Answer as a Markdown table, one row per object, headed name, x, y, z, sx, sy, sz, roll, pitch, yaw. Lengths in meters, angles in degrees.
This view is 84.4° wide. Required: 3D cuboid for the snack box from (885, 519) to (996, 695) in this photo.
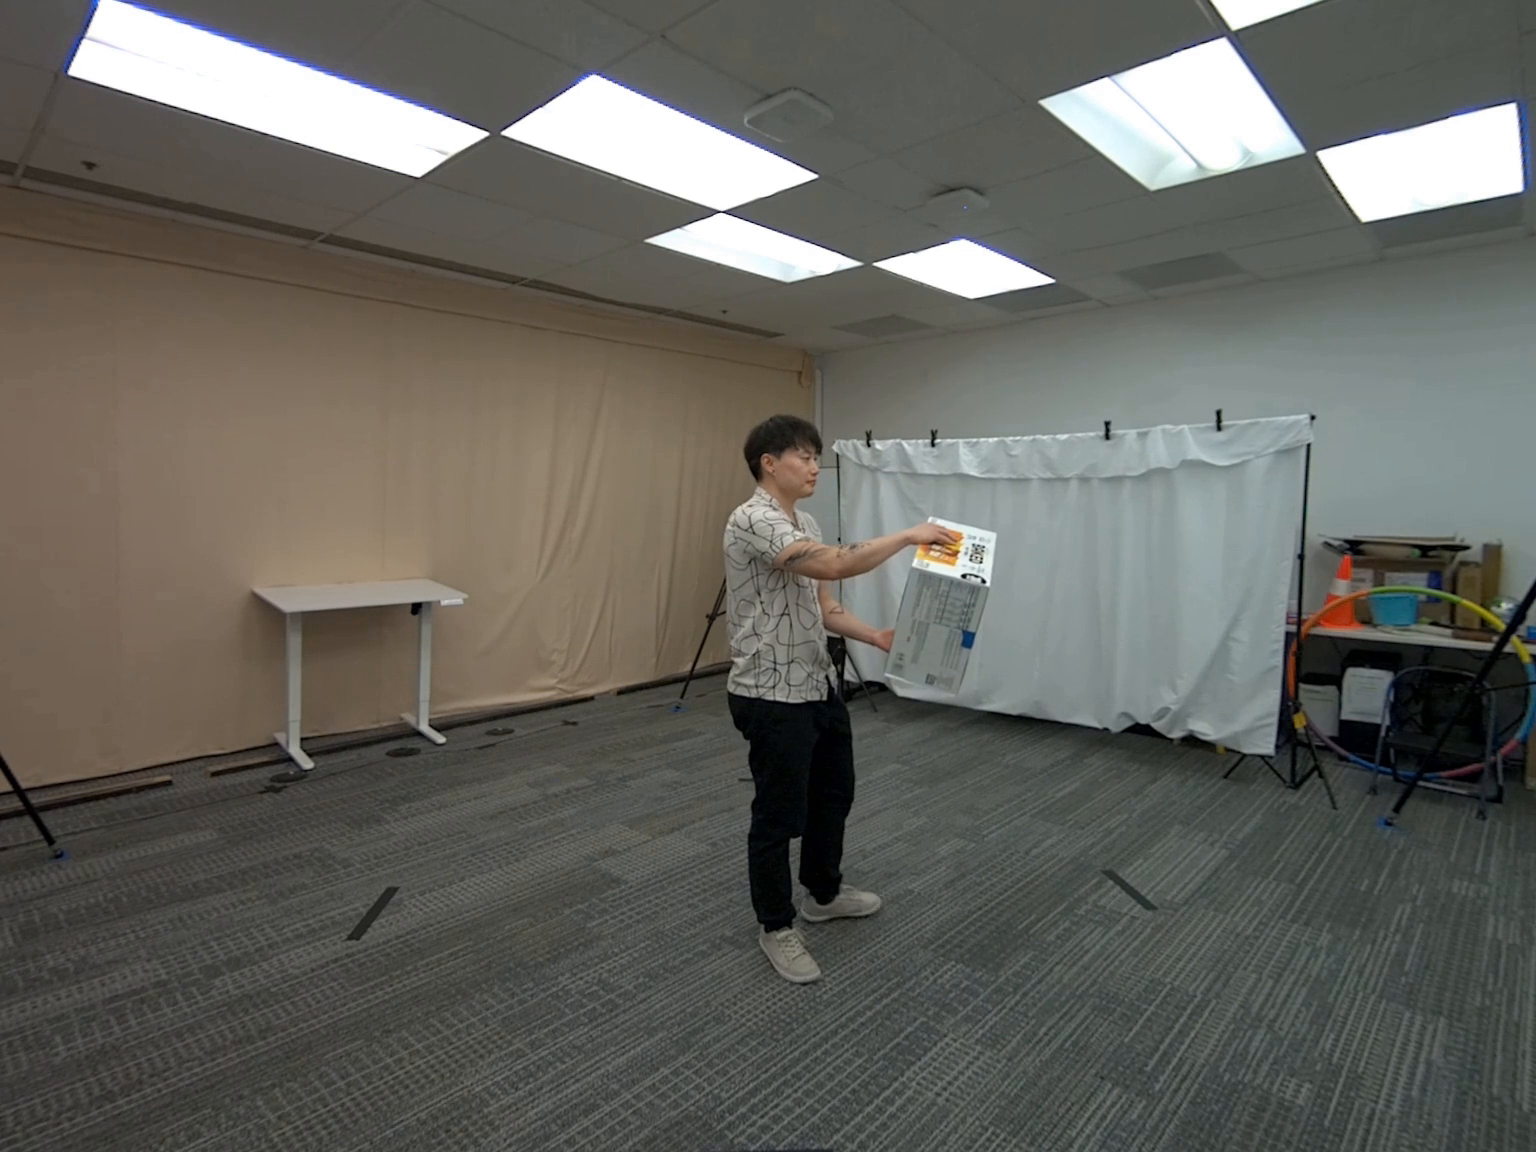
| name | x | y | z | sx | sy | sz | roll | pitch | yaw |
| --- | --- | --- | --- | --- | --- | --- | --- | --- | --- |
| snack box | 0.507 | 0.075 | 2.384 | 0.209 | 0.337 | 0.403 | 15 | 25 | 12 |
